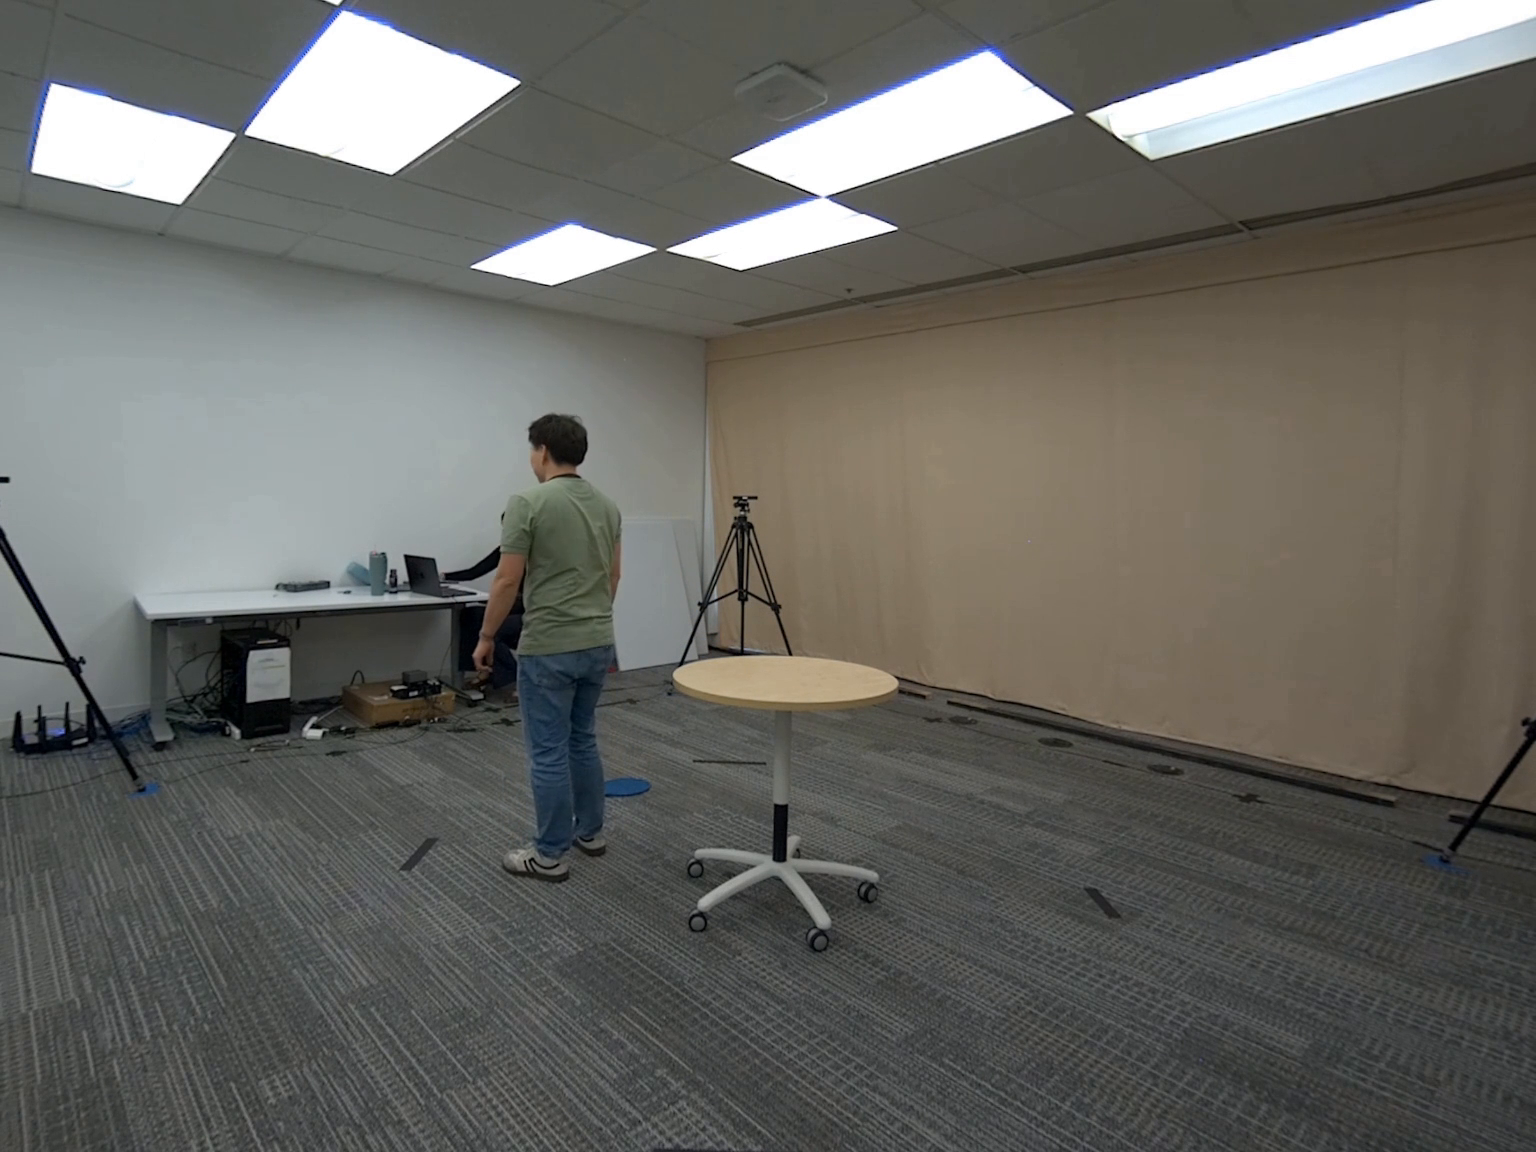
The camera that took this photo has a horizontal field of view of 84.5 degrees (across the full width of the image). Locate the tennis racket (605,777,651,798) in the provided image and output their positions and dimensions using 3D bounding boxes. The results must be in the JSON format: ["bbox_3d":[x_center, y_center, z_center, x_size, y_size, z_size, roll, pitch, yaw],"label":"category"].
[{"bbox_3d":[-0.746,1.000,3.942,0.219,0.032,0.423,8,6,43],"label":"tennis racket"}]
